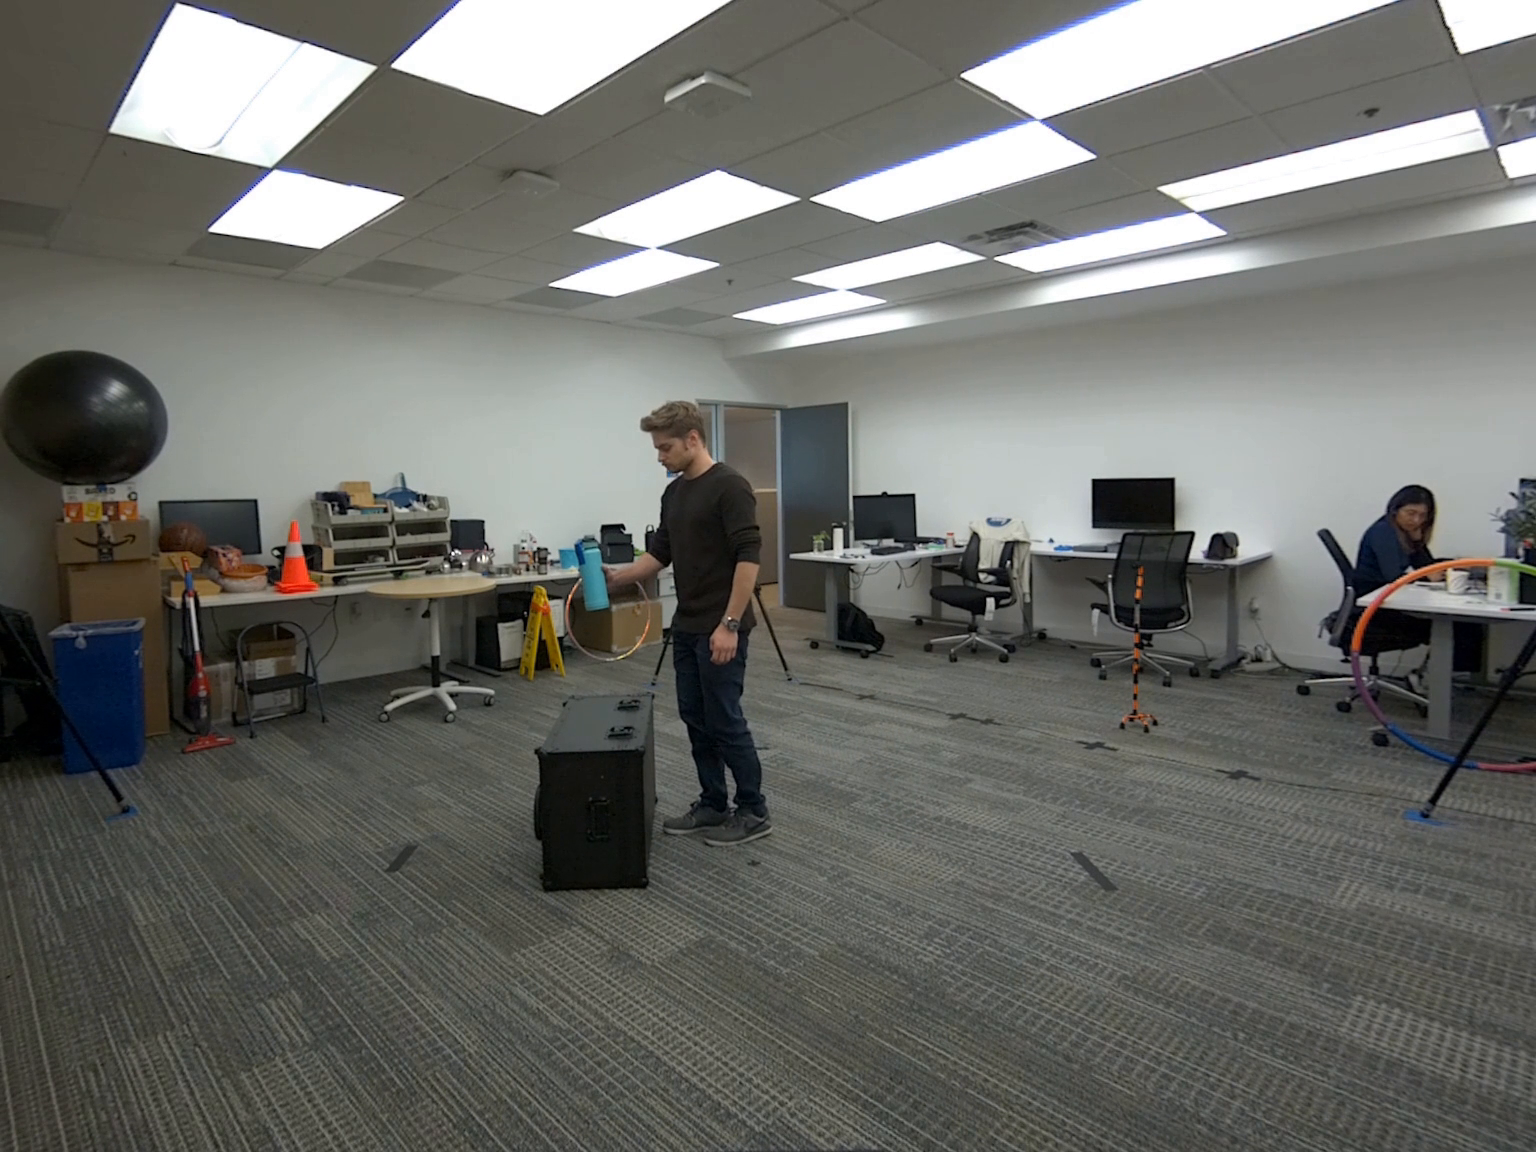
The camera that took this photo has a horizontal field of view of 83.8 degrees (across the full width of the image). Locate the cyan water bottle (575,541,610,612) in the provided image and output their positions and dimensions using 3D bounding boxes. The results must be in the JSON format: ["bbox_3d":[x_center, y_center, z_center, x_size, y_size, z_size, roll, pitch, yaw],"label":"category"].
[{"bbox_3d":[-0.667,-0.016,3.250,0.092,0.282,0.092,-12,3,-1],"label":"cyan water bottle"}]
